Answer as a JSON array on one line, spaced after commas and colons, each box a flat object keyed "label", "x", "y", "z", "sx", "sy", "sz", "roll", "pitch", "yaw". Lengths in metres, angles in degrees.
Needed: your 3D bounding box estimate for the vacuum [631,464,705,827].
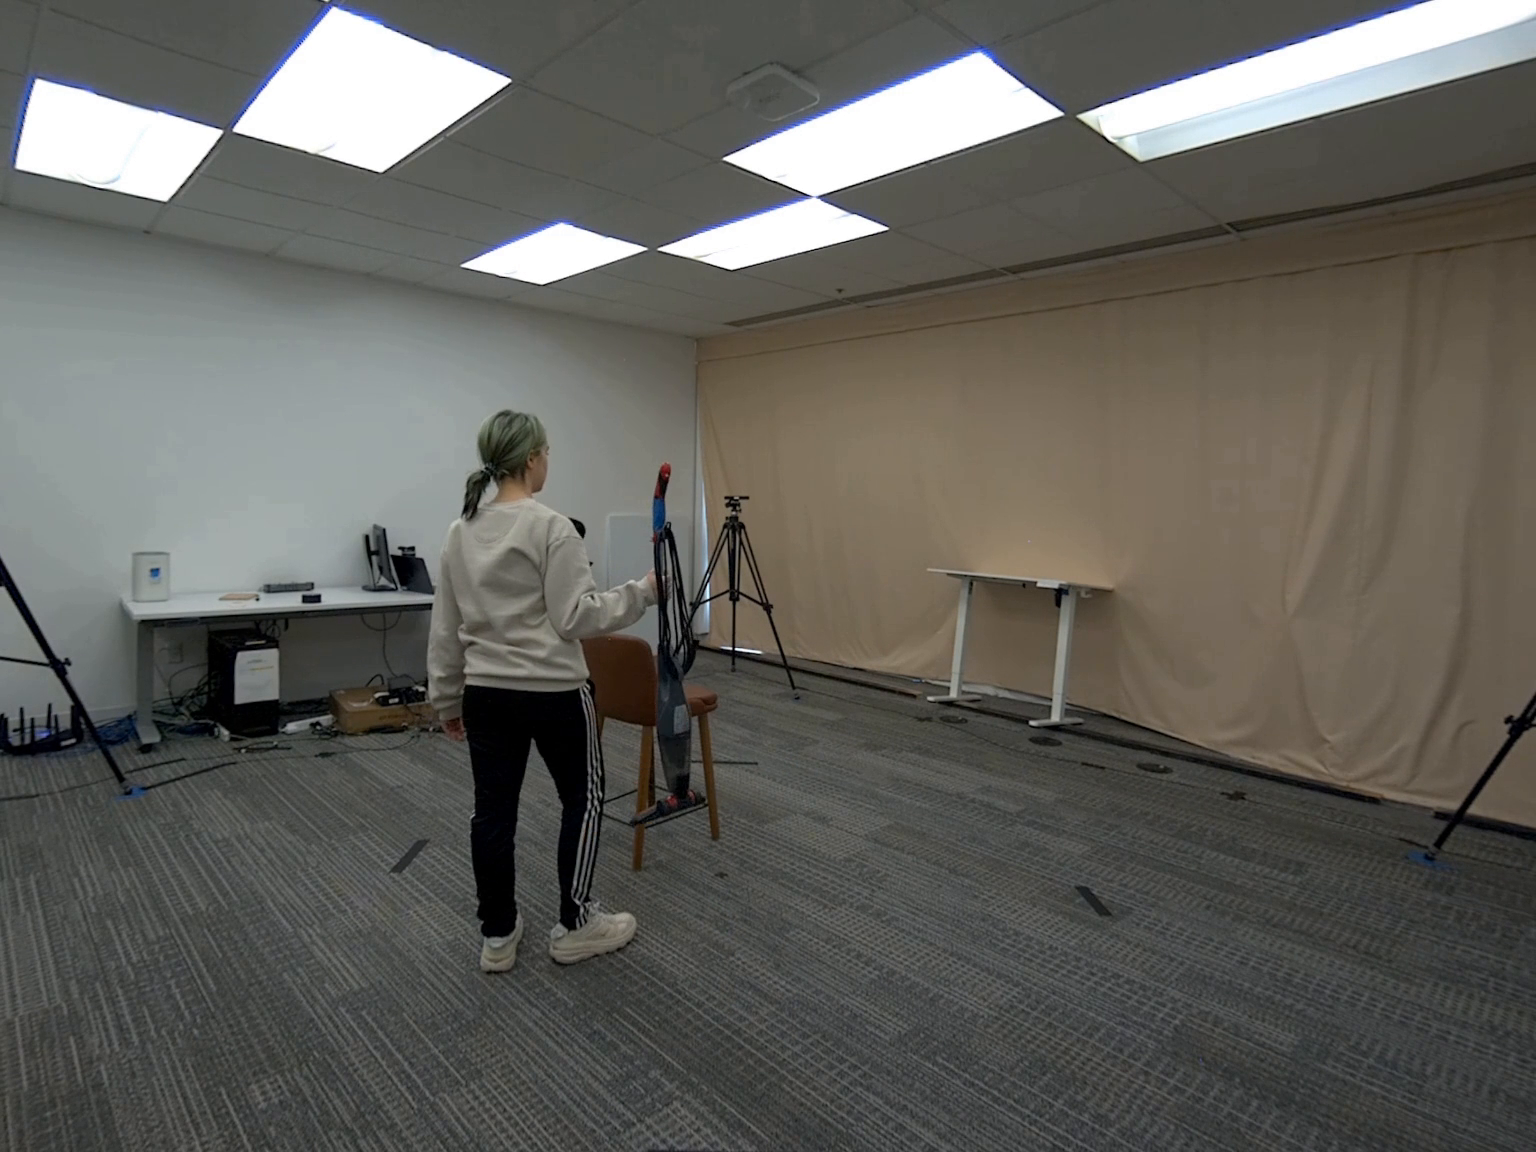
[{"label": "vacuum", "x": -0.289, "y": 0.209, "z": 2.442, "sx": 0.248, "sy": 1.039, "sz": 0.148, "roll": -8, "pitch": 17, "yaw": -35}]
